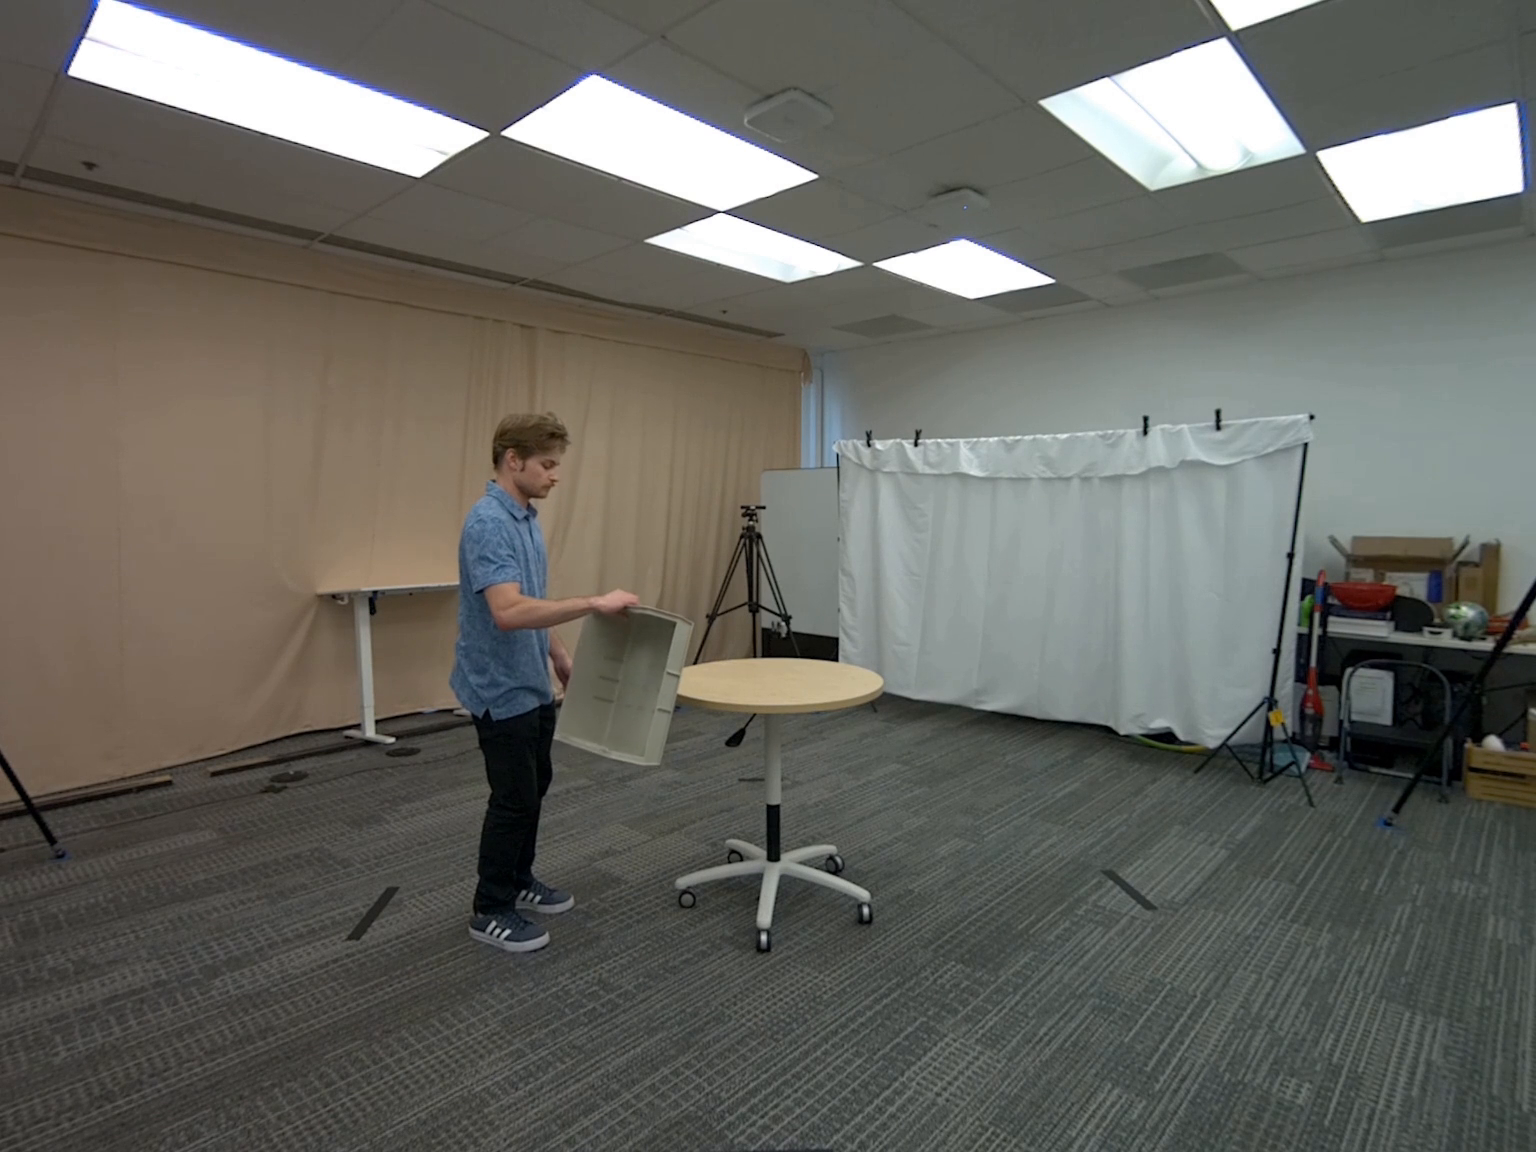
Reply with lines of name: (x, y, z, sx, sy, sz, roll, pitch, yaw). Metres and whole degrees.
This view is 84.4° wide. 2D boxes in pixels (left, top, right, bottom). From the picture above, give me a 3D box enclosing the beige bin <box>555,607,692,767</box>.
beige bin: (-0.410, 0.314, 2.459, 0.182, 0.424, 0.389, 21, -14, -36)
